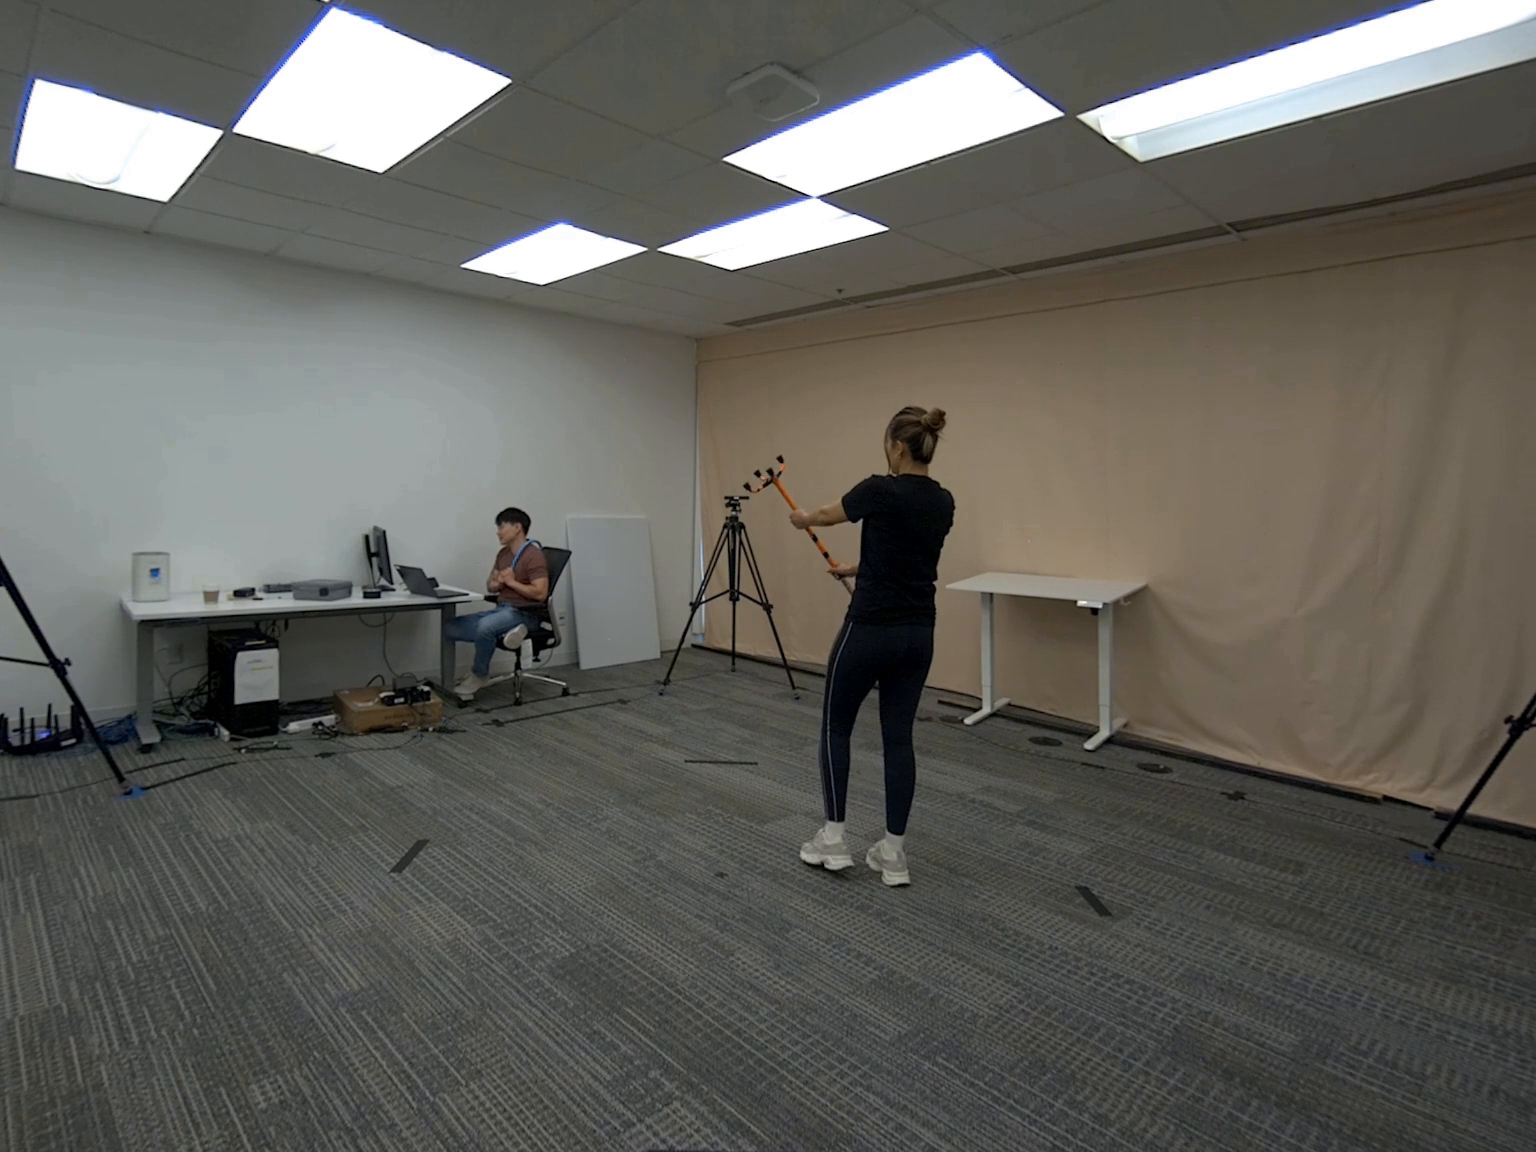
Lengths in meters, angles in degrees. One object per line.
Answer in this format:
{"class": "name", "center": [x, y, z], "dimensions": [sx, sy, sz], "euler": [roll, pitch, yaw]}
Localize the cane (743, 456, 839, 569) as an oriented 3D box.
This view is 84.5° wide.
{"class": "cane", "center": [0.224, -0.080, 3.584], "dimensions": [0.152, 0.899, 0.207], "euler": [-31, 10, 22]}
